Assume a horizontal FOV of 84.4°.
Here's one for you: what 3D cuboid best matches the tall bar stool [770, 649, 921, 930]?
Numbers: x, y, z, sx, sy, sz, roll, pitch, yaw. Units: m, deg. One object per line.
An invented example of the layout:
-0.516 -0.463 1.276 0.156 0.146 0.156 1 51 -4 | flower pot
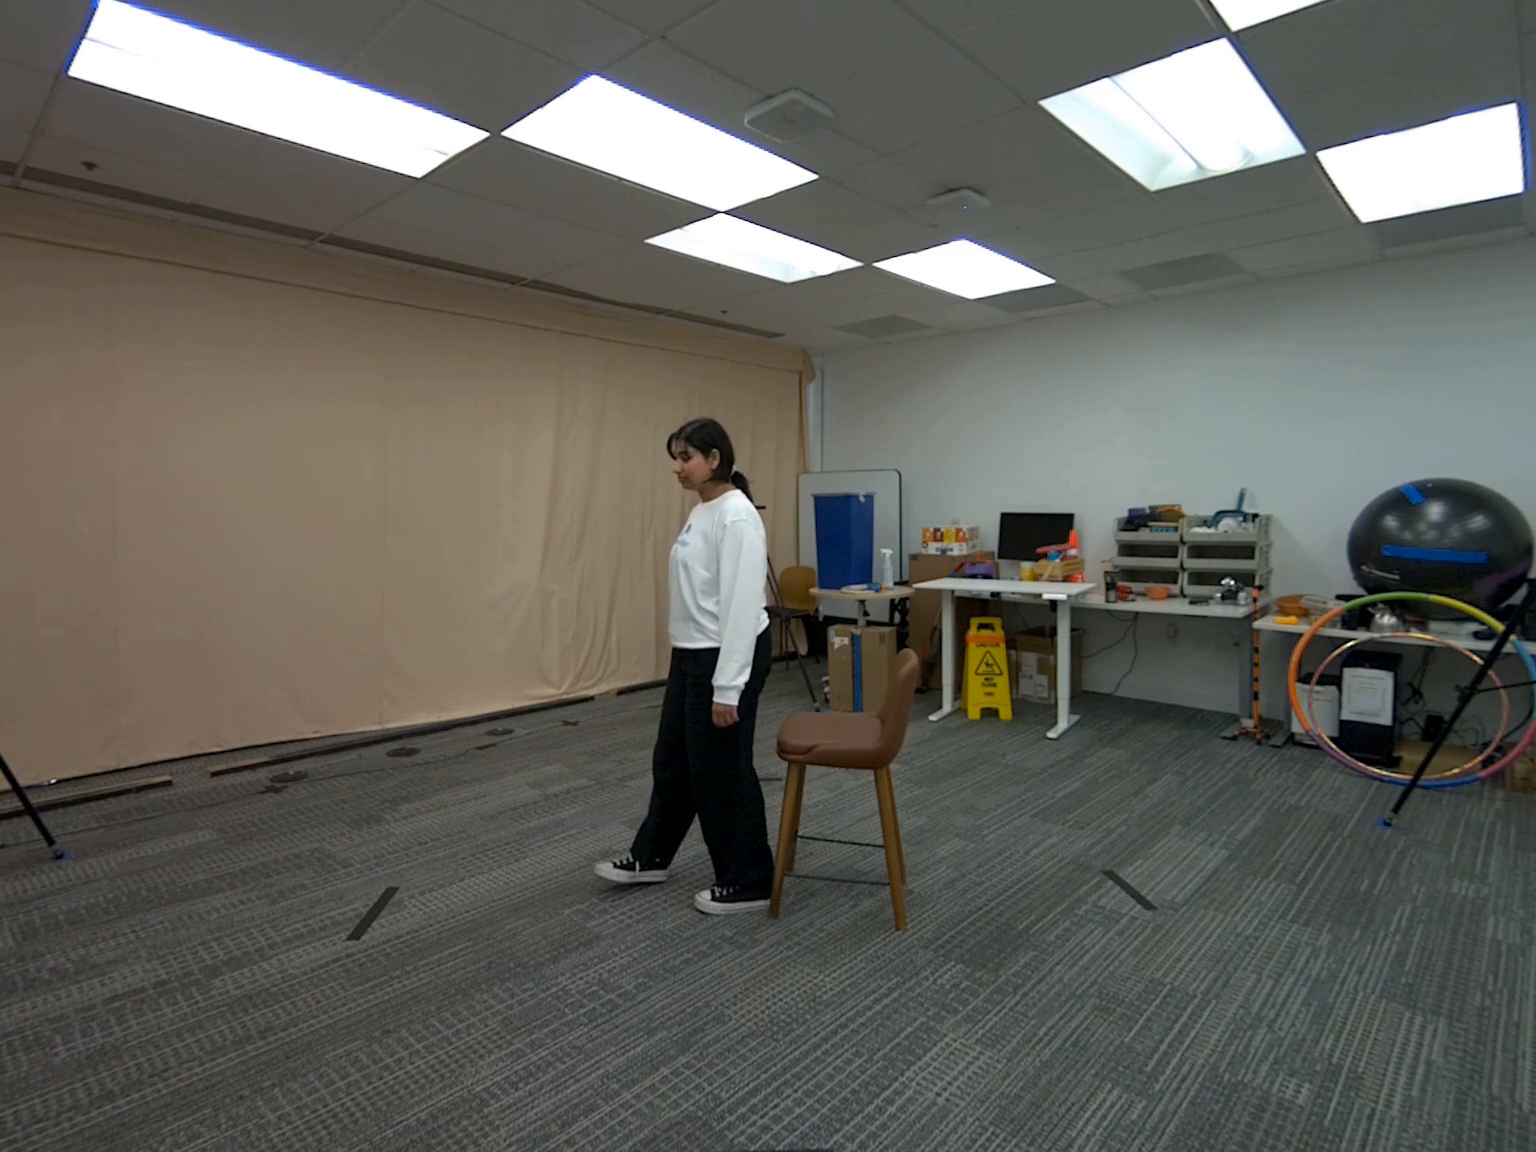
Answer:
0.274 0.711 2.957 0.474 0.888 0.451 2 4 12 | tall bar stool
